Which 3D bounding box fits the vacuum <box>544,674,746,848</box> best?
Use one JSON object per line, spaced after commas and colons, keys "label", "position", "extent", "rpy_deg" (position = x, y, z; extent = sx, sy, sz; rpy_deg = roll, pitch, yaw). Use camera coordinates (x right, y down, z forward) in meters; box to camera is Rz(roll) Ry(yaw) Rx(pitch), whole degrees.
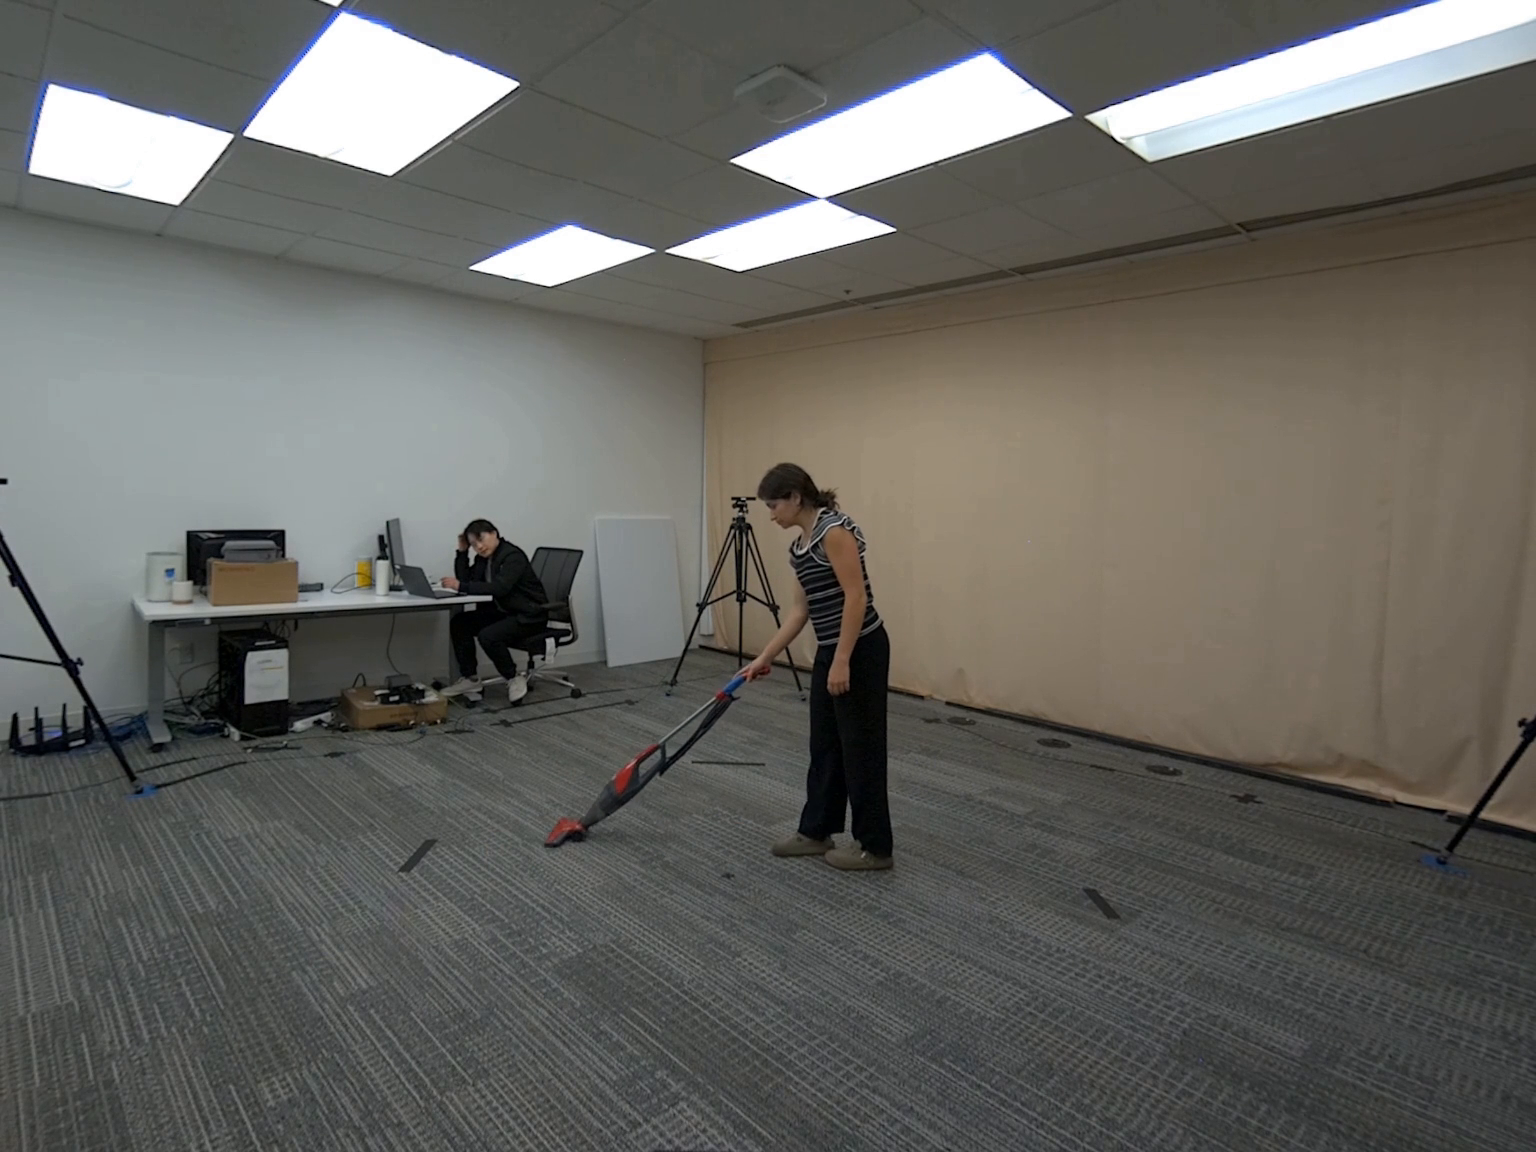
{"label": "vacuum", "position": [-0.415, 0.711, 3.396], "extent": [1.050, 0.143, 0.254], "rpy_deg": [-39, 8, 5]}
